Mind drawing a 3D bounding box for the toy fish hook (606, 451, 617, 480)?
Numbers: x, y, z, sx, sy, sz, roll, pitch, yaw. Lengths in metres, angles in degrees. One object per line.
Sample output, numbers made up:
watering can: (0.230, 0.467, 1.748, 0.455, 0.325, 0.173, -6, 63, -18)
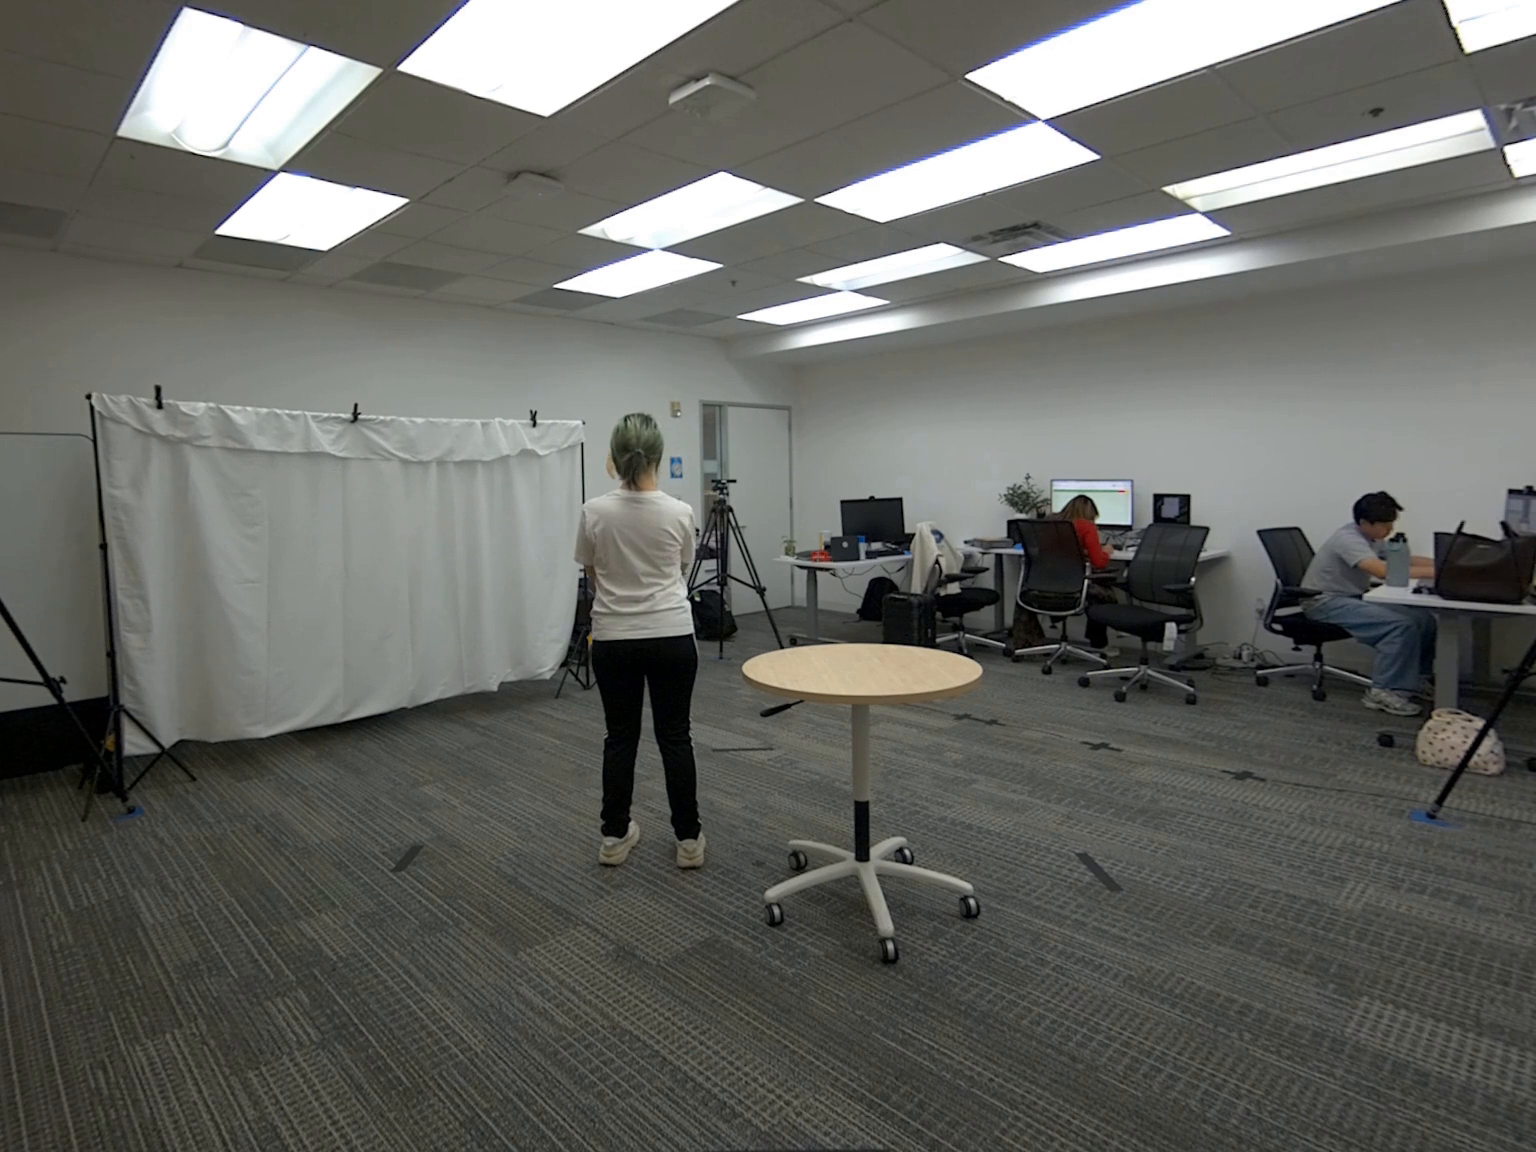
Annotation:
toy fish hook: (-0.523, -0.331, 3.391, 0.222, 0.508, 0.049, -1, -4, -13)
